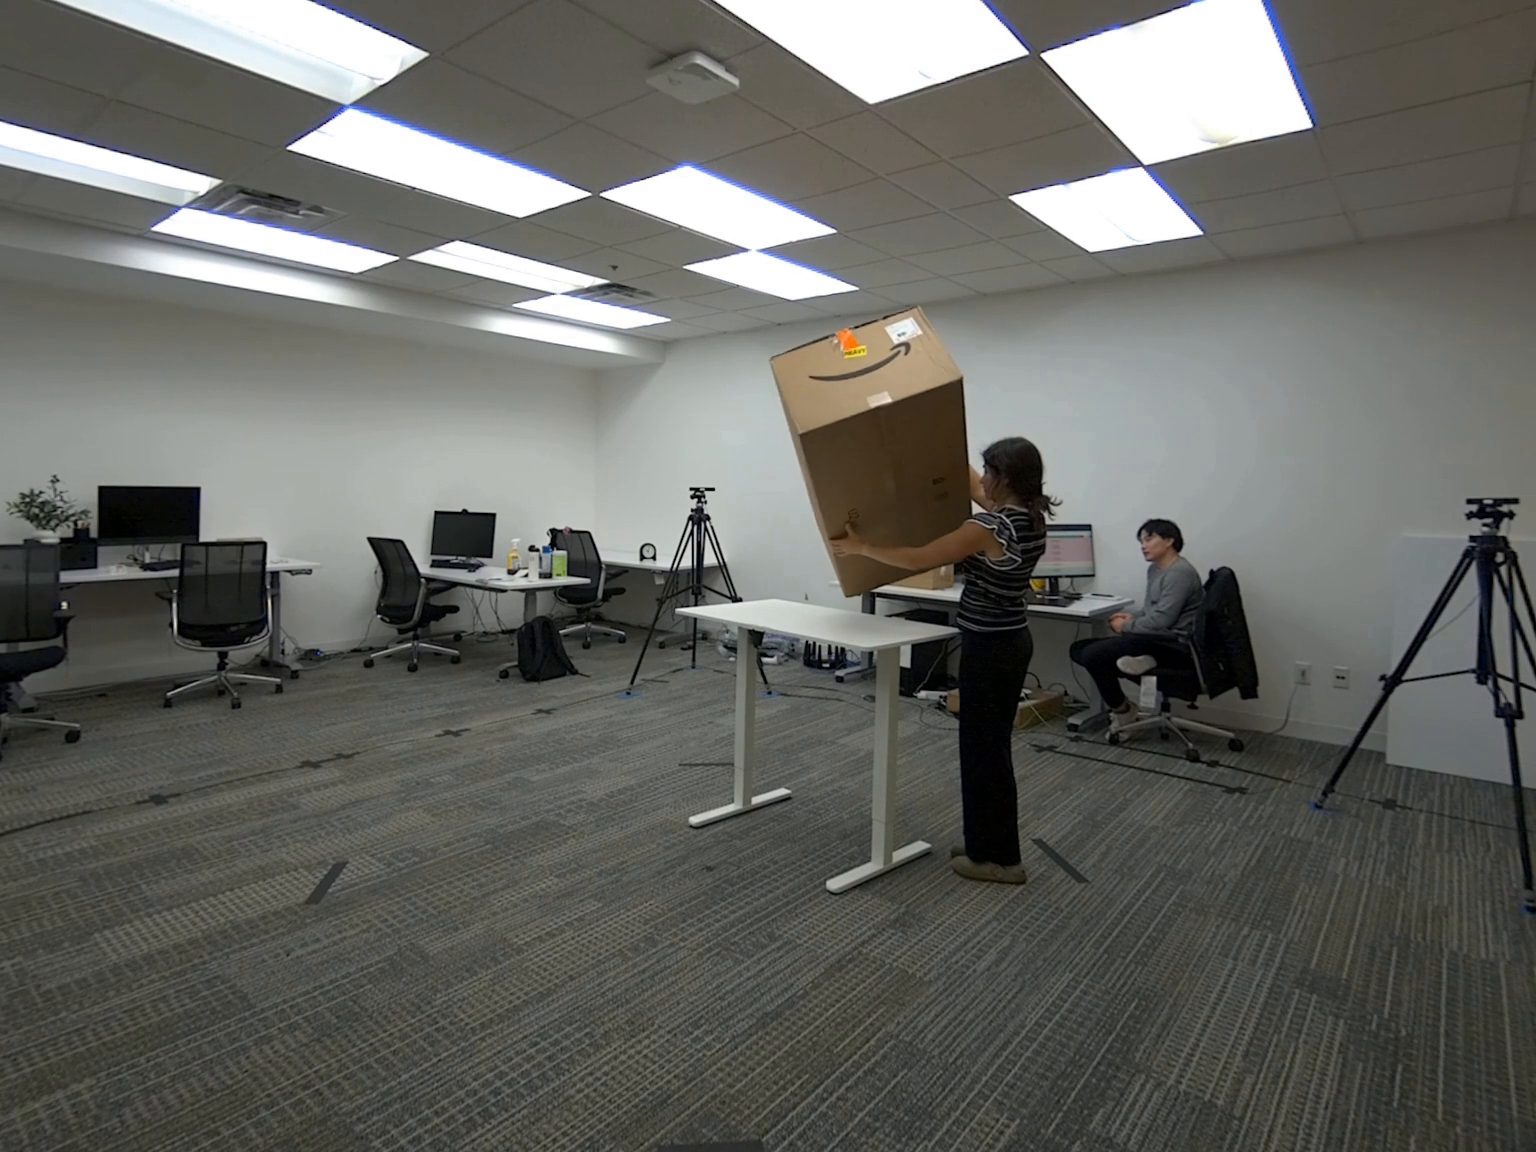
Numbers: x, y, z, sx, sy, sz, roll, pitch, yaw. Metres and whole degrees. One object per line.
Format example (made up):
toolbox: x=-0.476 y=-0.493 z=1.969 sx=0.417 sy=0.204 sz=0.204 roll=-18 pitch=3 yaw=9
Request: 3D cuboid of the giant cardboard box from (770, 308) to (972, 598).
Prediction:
giant cardboard box: x=0.425 y=-0.441 z=3.333 sx=0.579 sy=0.442 sz=0.987 roll=-18 pitch=-39 yaw=3
